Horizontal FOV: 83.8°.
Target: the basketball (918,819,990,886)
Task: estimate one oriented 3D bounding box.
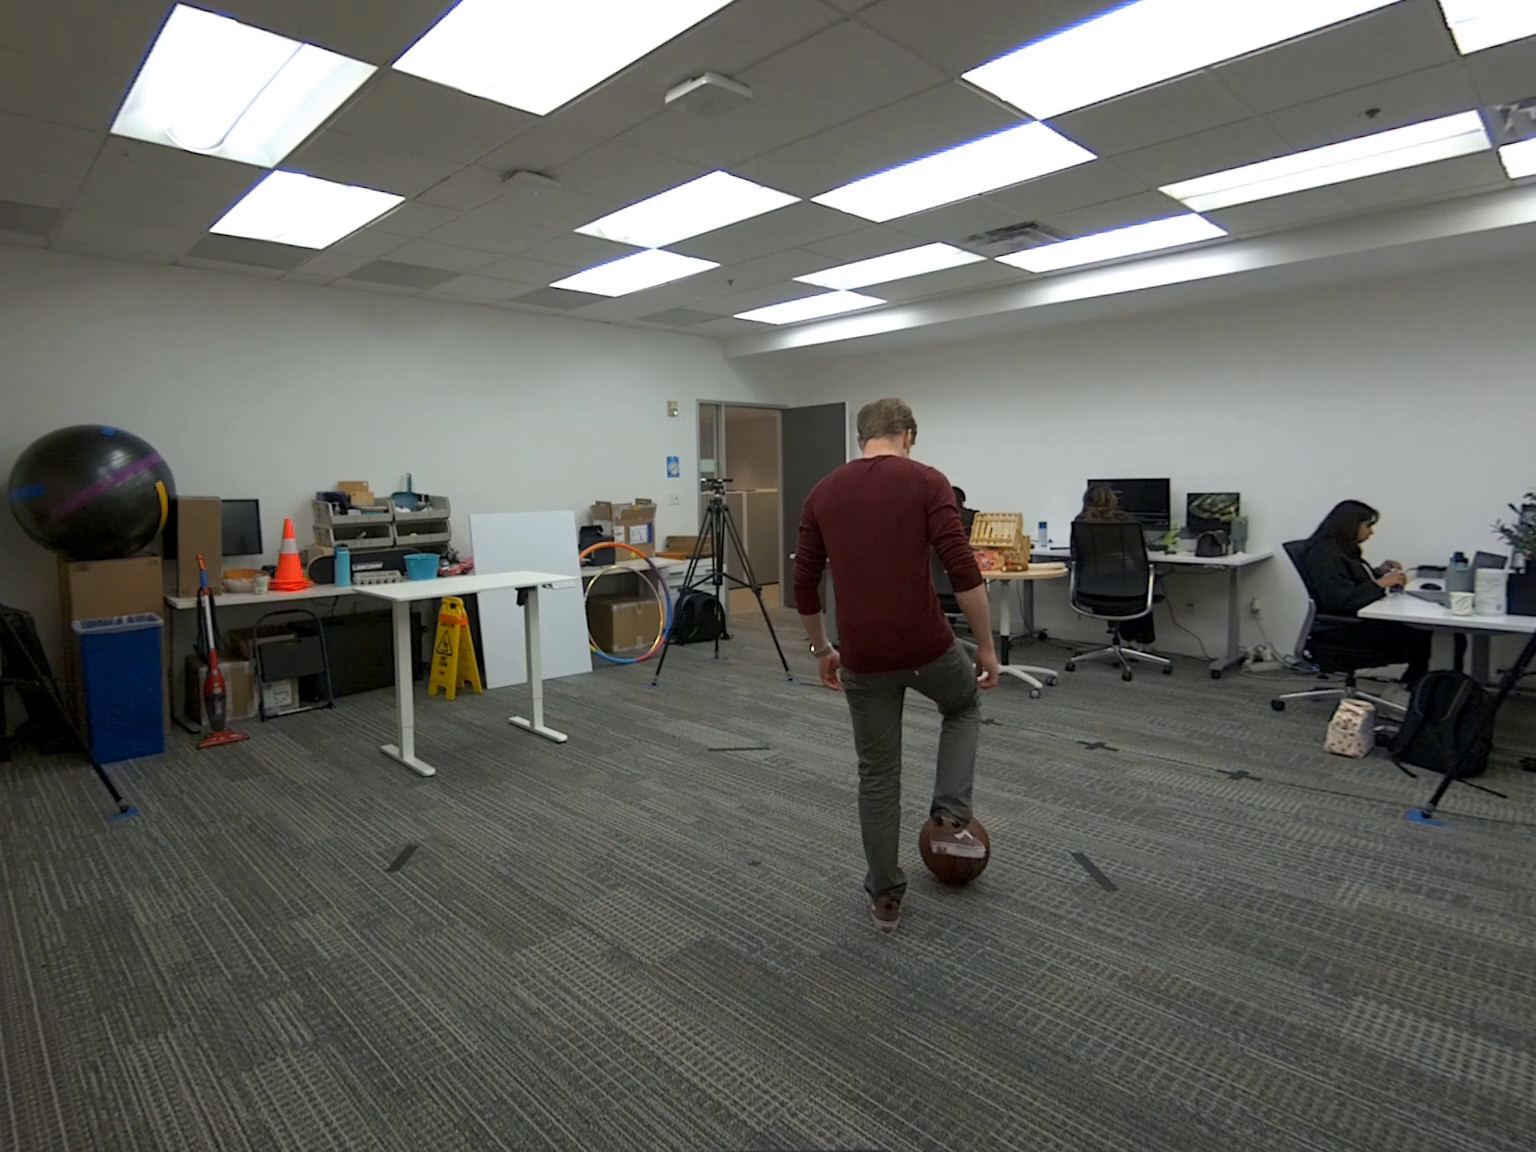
[{"bbox_3d":[0.649,0.930,2.950,0.236,0.235,0.237,-1,5,-2],"label":"basketball"}]
